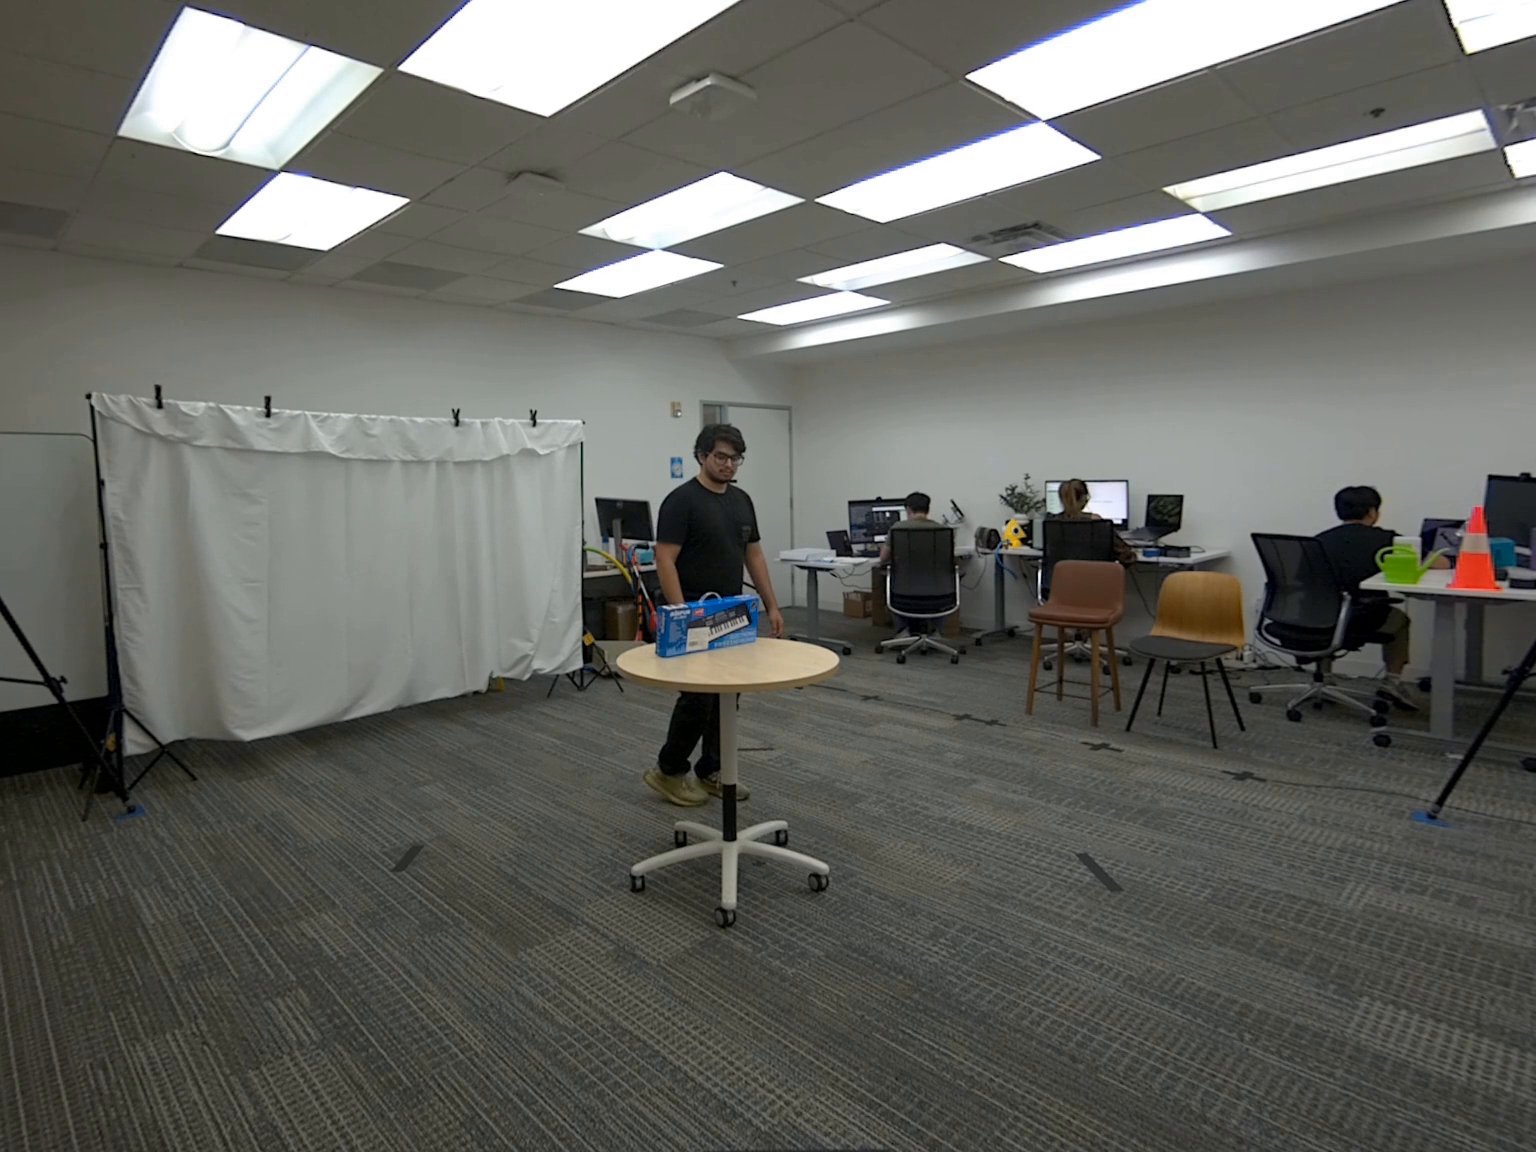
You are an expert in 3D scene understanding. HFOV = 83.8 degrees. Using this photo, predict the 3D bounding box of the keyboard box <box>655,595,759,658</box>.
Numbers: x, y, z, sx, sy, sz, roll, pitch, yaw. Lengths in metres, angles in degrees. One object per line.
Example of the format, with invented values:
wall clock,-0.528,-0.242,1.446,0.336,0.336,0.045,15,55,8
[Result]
keyboard box,-0.219,0.182,3.101,0.425,0.174,0.061,-6,13,-43
